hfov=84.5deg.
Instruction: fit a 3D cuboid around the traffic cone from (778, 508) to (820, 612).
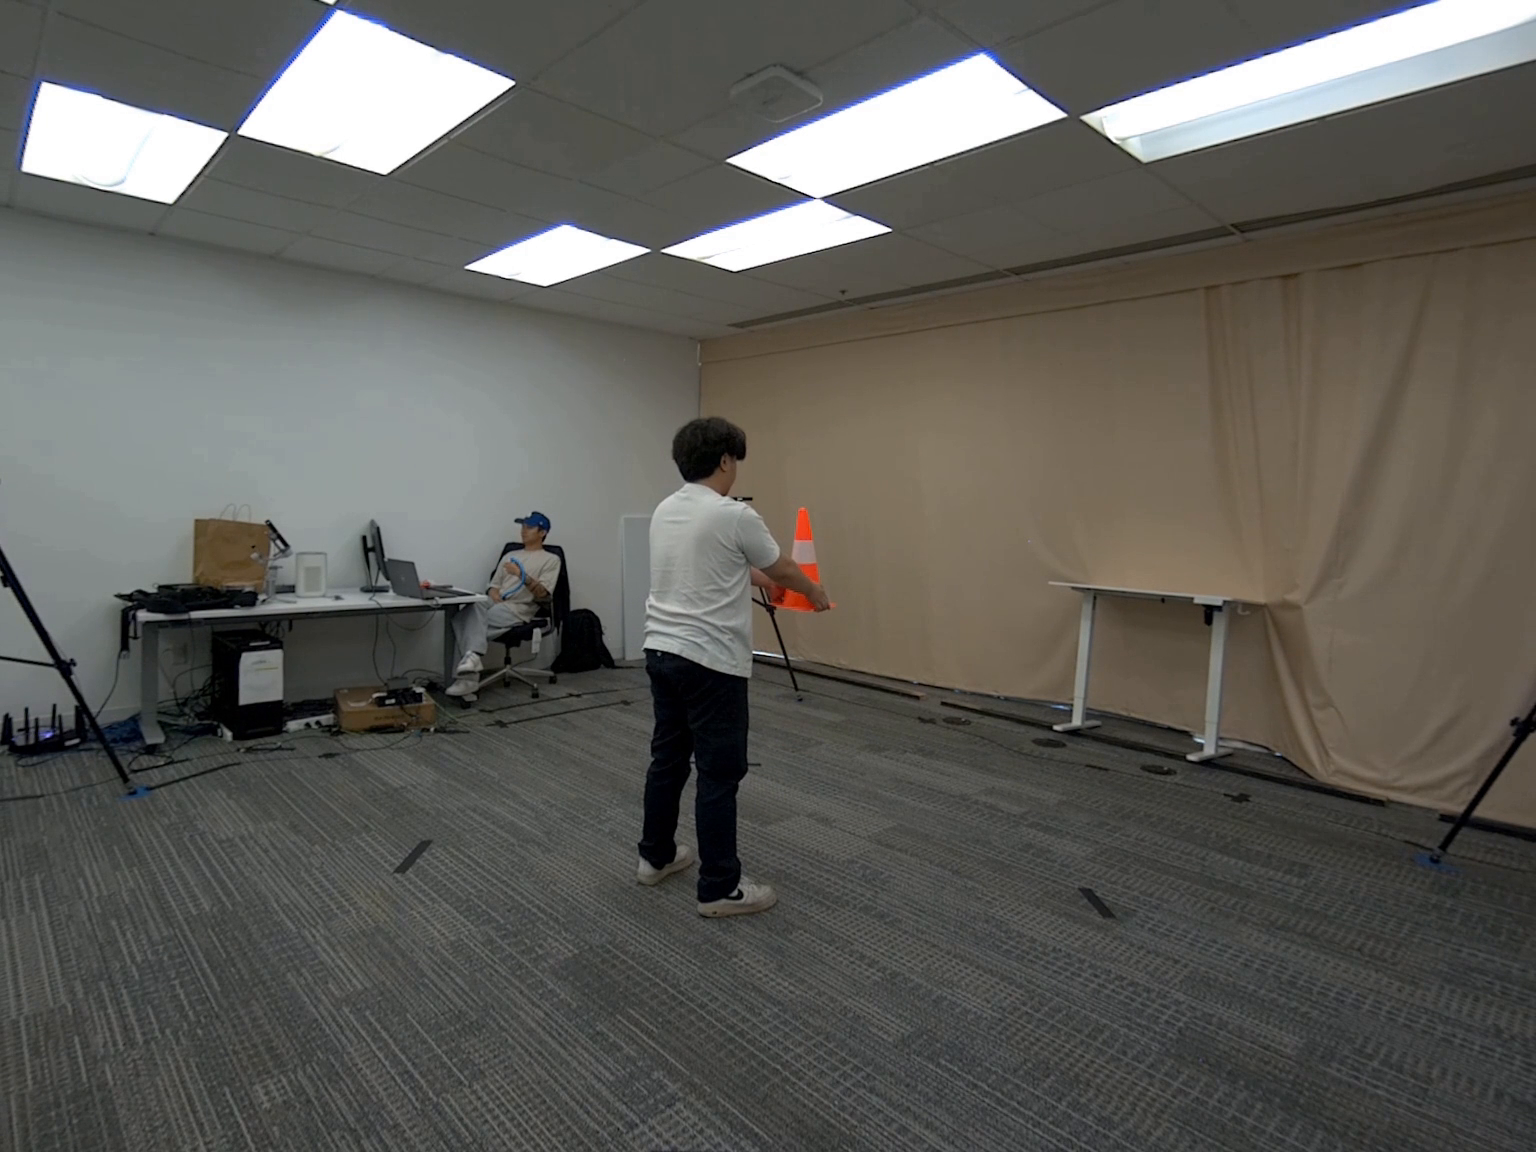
[{"bbox_3d":[0.133,-0.076,3.304,0.209,0.382,0.199,2,5,31],"label":"traffic cone"}]
